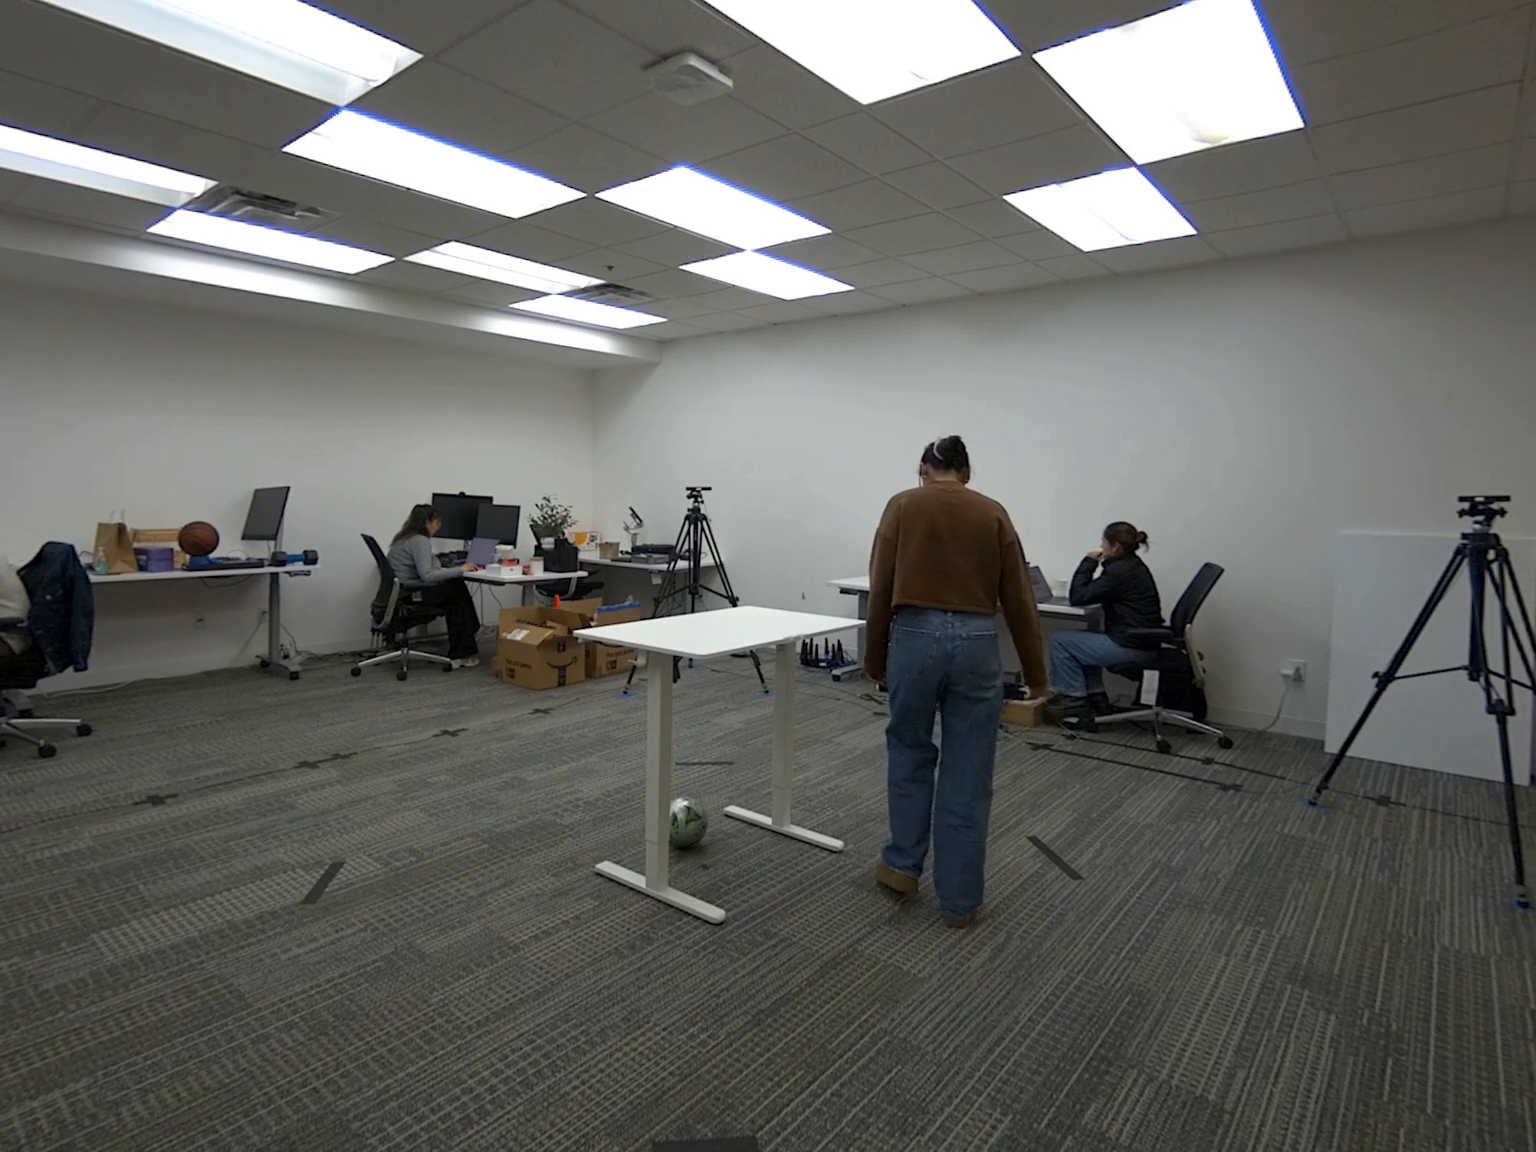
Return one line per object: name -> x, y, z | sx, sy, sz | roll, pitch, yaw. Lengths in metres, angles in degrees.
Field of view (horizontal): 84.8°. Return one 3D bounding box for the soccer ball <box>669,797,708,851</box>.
soccer ball -> -0.334, 0.948, 3.299 | 0.187, 0.187, 0.188 | 1, 4, -2
